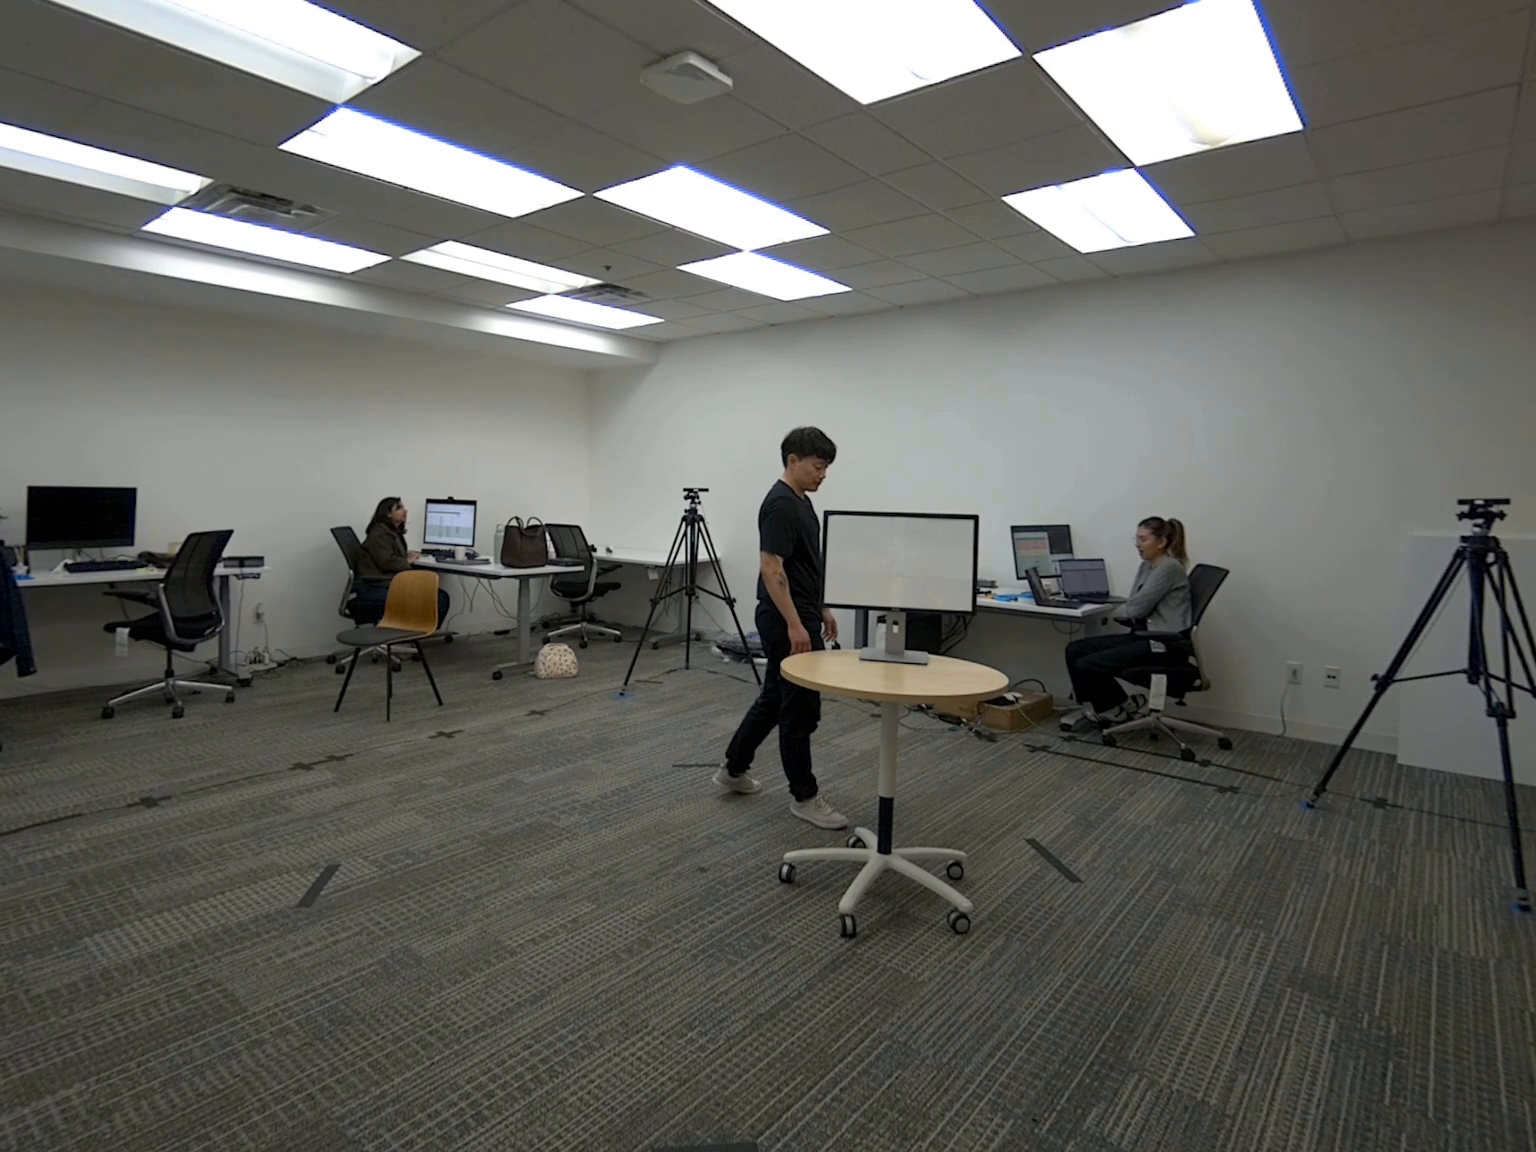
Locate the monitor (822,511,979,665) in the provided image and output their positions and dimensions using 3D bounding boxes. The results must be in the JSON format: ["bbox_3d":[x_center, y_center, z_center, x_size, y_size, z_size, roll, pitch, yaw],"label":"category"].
[{"bbox_3d":[0.466,0.037,3.148,0.545,0.520,0.185,3,4,10],"label":"monitor"}]
